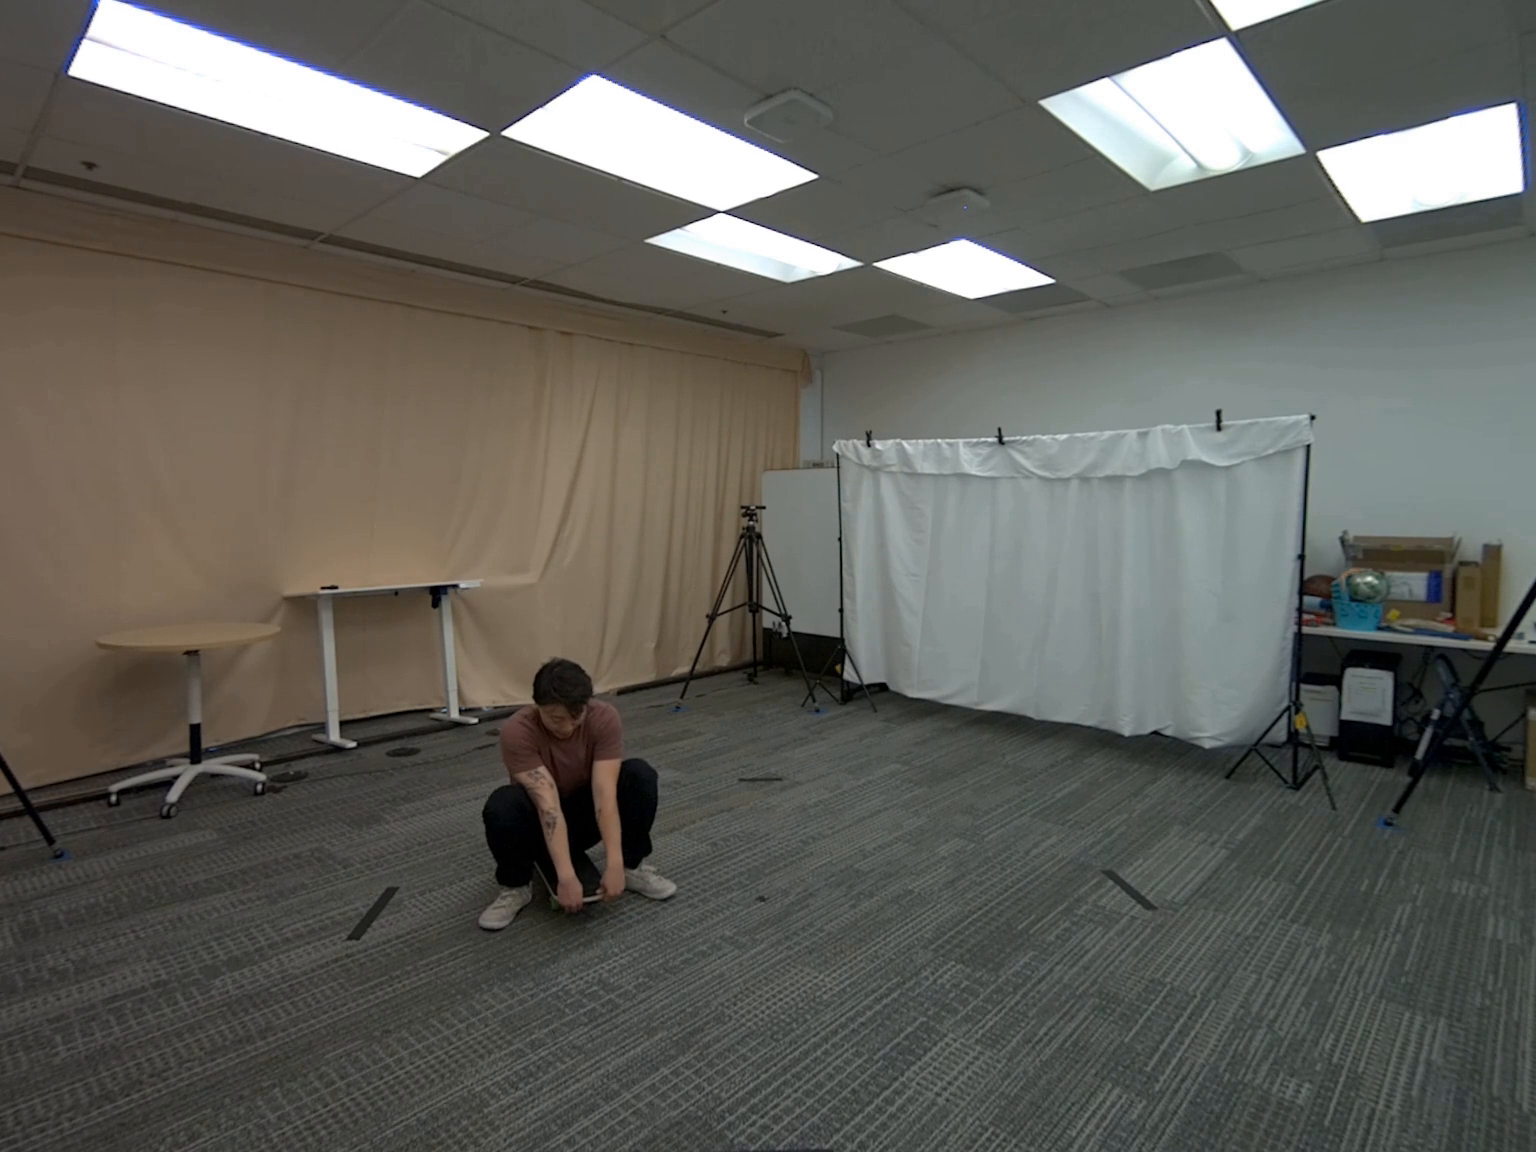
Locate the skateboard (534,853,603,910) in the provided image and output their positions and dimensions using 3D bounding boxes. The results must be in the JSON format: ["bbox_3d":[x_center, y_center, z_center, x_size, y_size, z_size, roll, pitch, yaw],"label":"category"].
[{"bbox_3d":[-0.775,1.081,3.117,0.189,0.110,0.805,-1,5,-24],"label":"skateboard"}]
